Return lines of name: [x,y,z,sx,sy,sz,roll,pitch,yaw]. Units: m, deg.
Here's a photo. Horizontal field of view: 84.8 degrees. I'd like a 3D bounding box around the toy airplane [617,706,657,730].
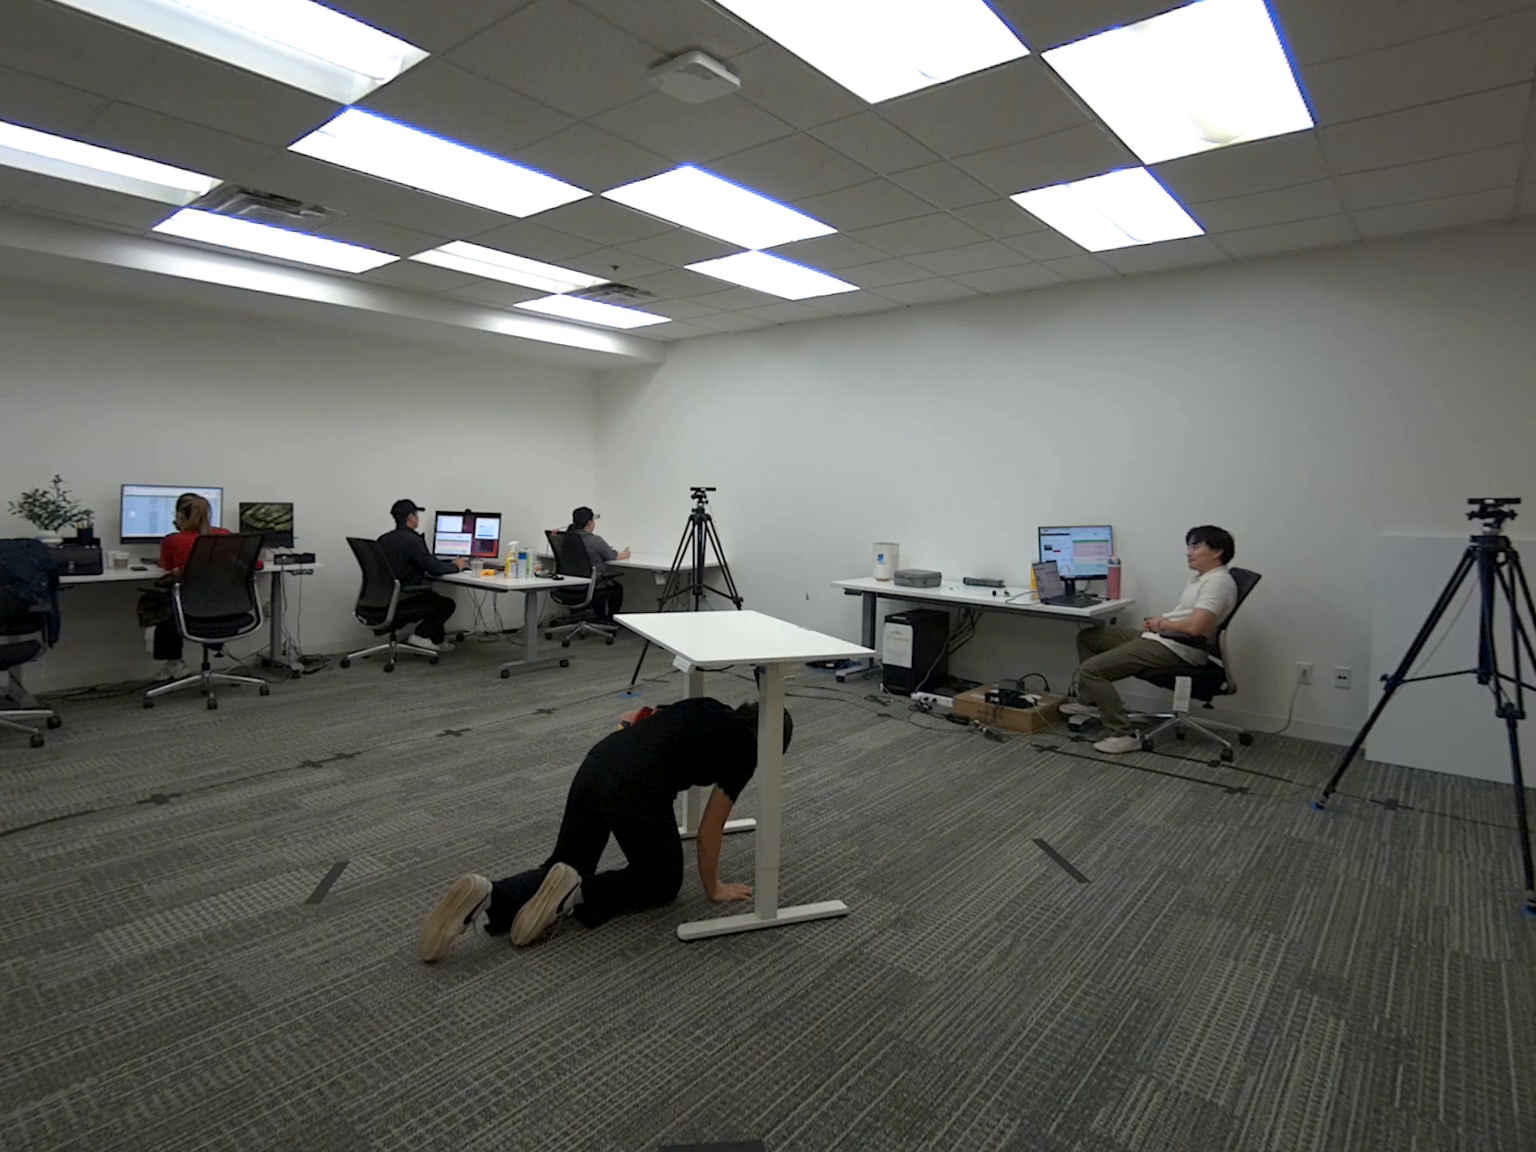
toy airplane: [-0.422,0.579,3.045,0.252,0.252,0.160,-2,-3,-33]
